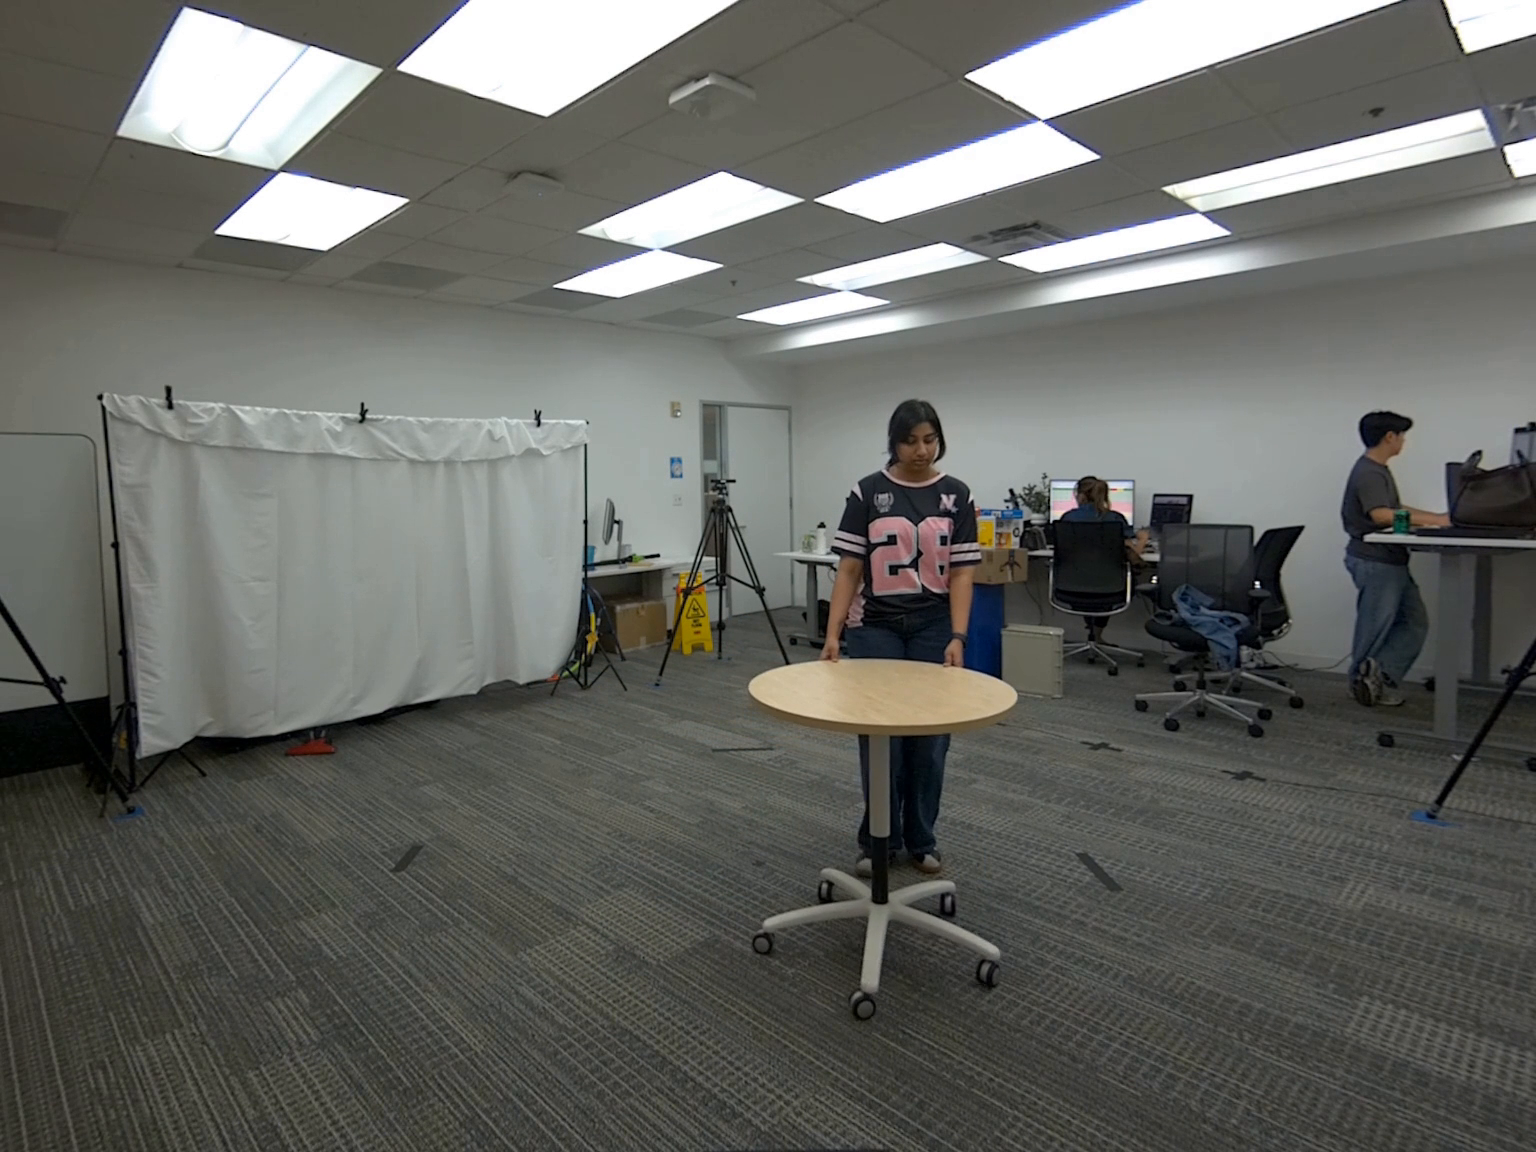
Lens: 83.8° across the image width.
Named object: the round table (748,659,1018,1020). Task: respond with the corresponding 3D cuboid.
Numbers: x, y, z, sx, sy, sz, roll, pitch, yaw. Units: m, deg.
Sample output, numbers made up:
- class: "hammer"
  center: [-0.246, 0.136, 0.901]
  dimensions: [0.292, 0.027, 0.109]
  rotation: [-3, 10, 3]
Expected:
- class: "round table"
  center: [0.327, 0.720, 2.520]
  dimensions: [0.763, 0.791, 0.768]
  rotation: [-1, 5, -2]
